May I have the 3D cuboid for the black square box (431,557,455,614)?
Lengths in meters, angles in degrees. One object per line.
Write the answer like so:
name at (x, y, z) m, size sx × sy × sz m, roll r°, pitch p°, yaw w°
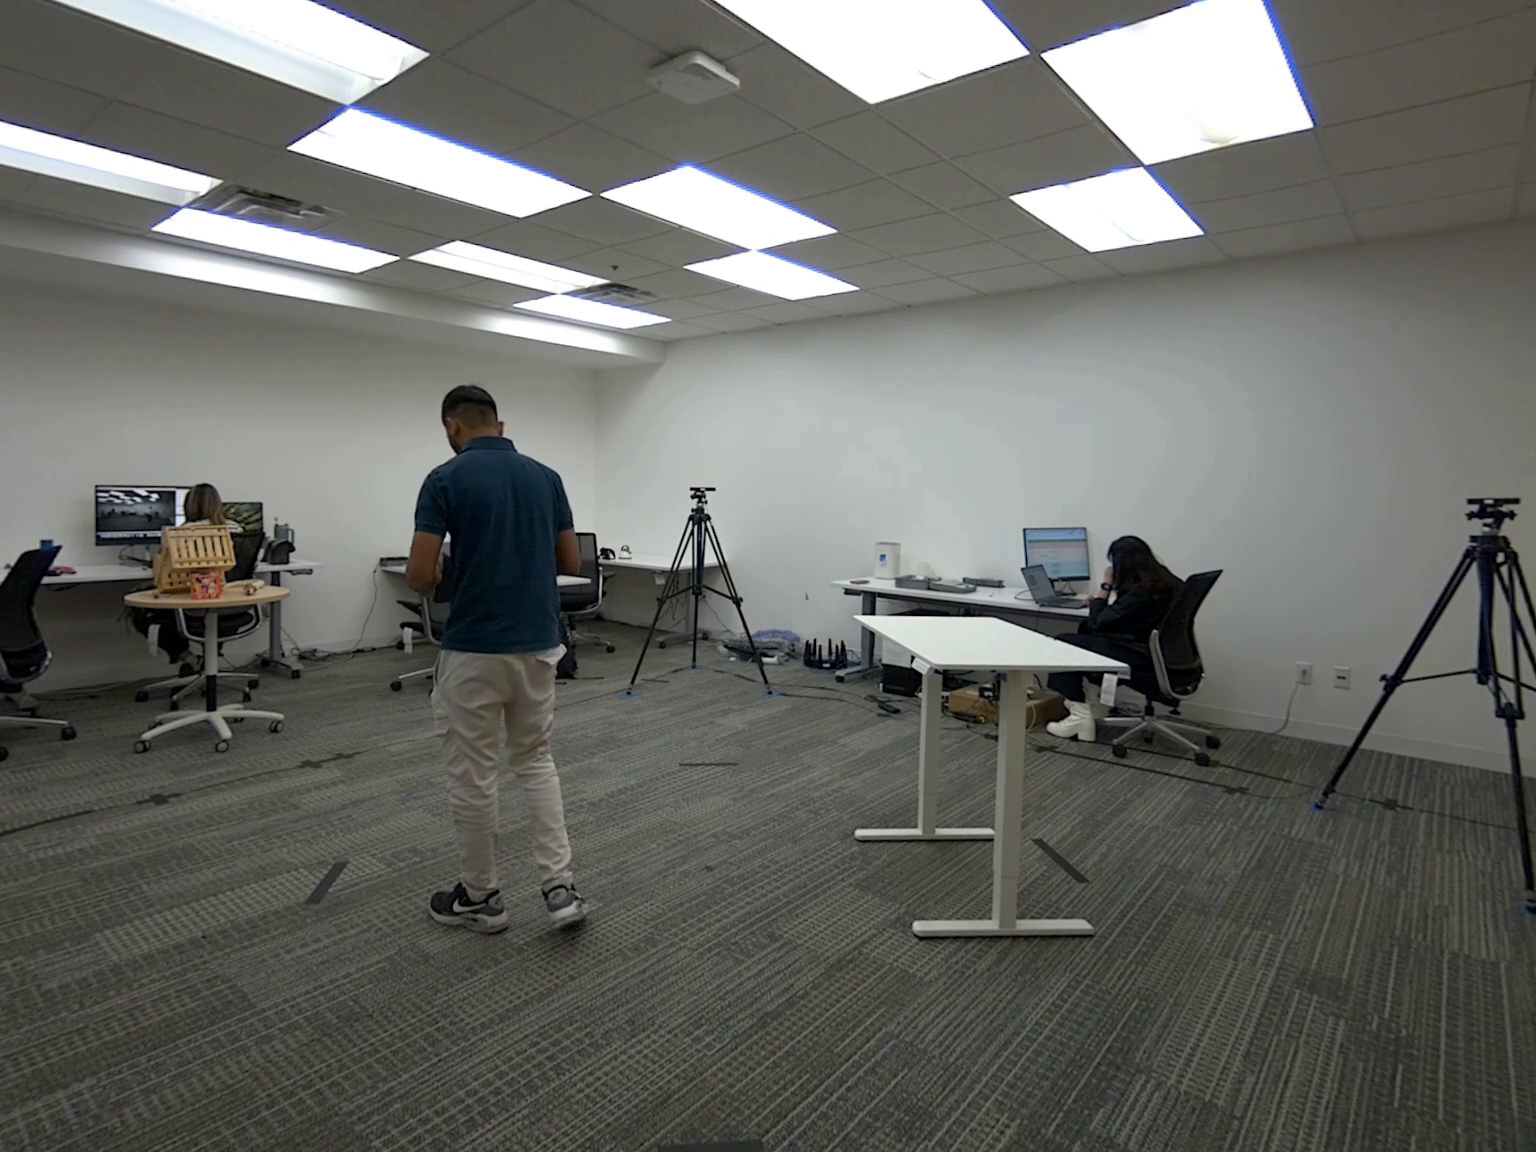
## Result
black square box at (-1.095, -0.016, 2.951) m, size 0.222 × 0.154 × 0.225 m, roll -8°, pitch 17°, yaw -38°
